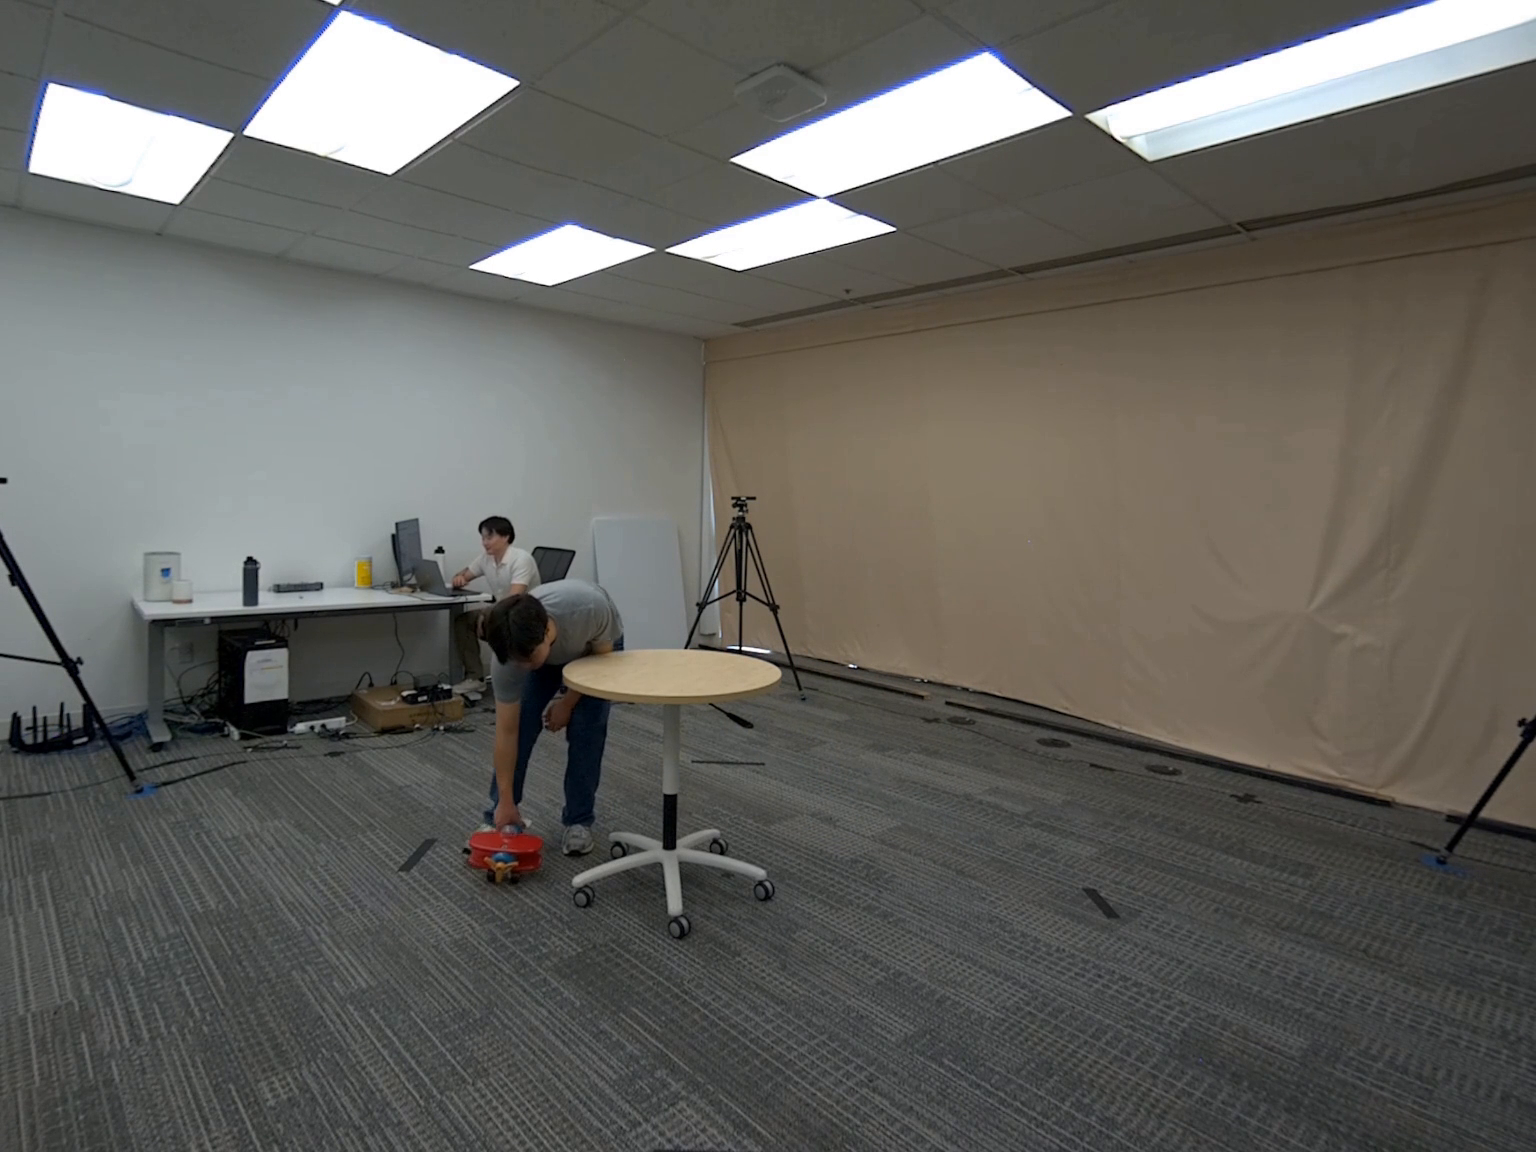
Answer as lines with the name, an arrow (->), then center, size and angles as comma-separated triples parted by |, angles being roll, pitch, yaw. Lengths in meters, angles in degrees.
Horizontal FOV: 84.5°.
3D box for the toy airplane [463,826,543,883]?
toy airplane -> -0.963, 0.980, 3.043 | 0.247, 0.153, 0.267 | -15, 43, -27
